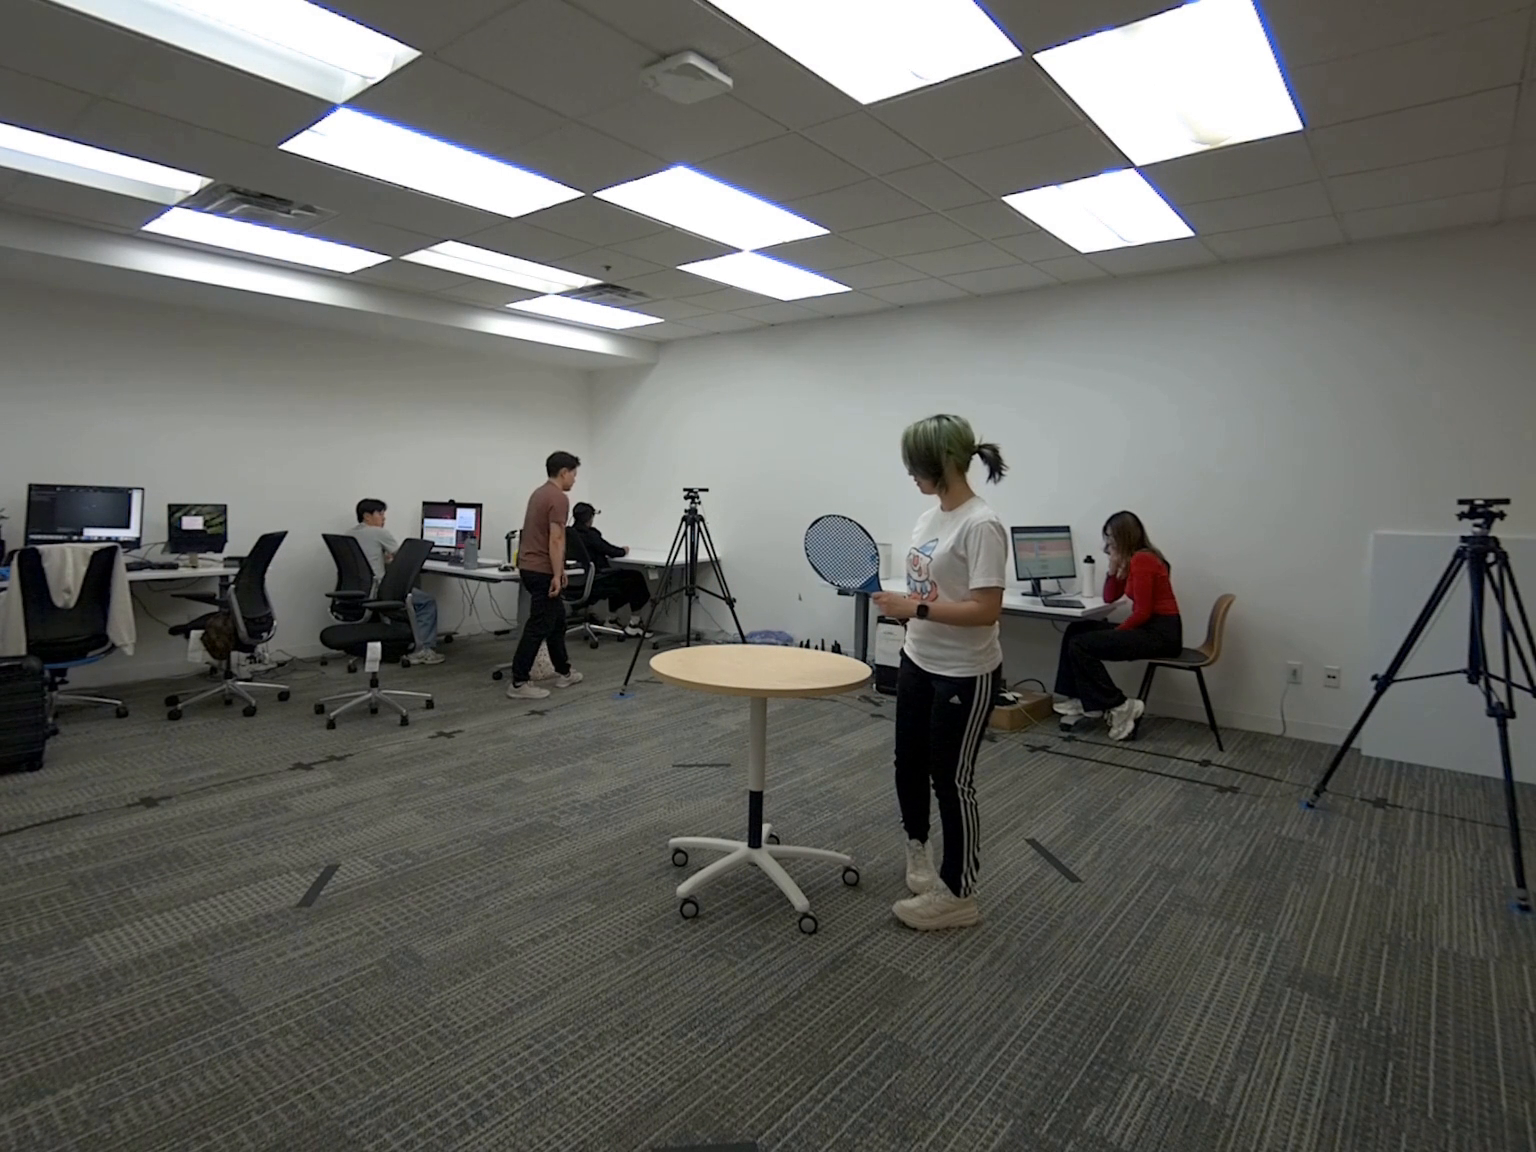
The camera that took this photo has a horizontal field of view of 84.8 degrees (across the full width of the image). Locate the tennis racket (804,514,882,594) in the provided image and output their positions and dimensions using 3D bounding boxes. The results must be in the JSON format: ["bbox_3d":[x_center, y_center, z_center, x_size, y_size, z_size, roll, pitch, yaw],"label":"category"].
[{"bbox_3d":[0.296,-0.015,2.692,0.213,0.441,0.031,-41,-14,-8],"label":"tennis racket"}]
